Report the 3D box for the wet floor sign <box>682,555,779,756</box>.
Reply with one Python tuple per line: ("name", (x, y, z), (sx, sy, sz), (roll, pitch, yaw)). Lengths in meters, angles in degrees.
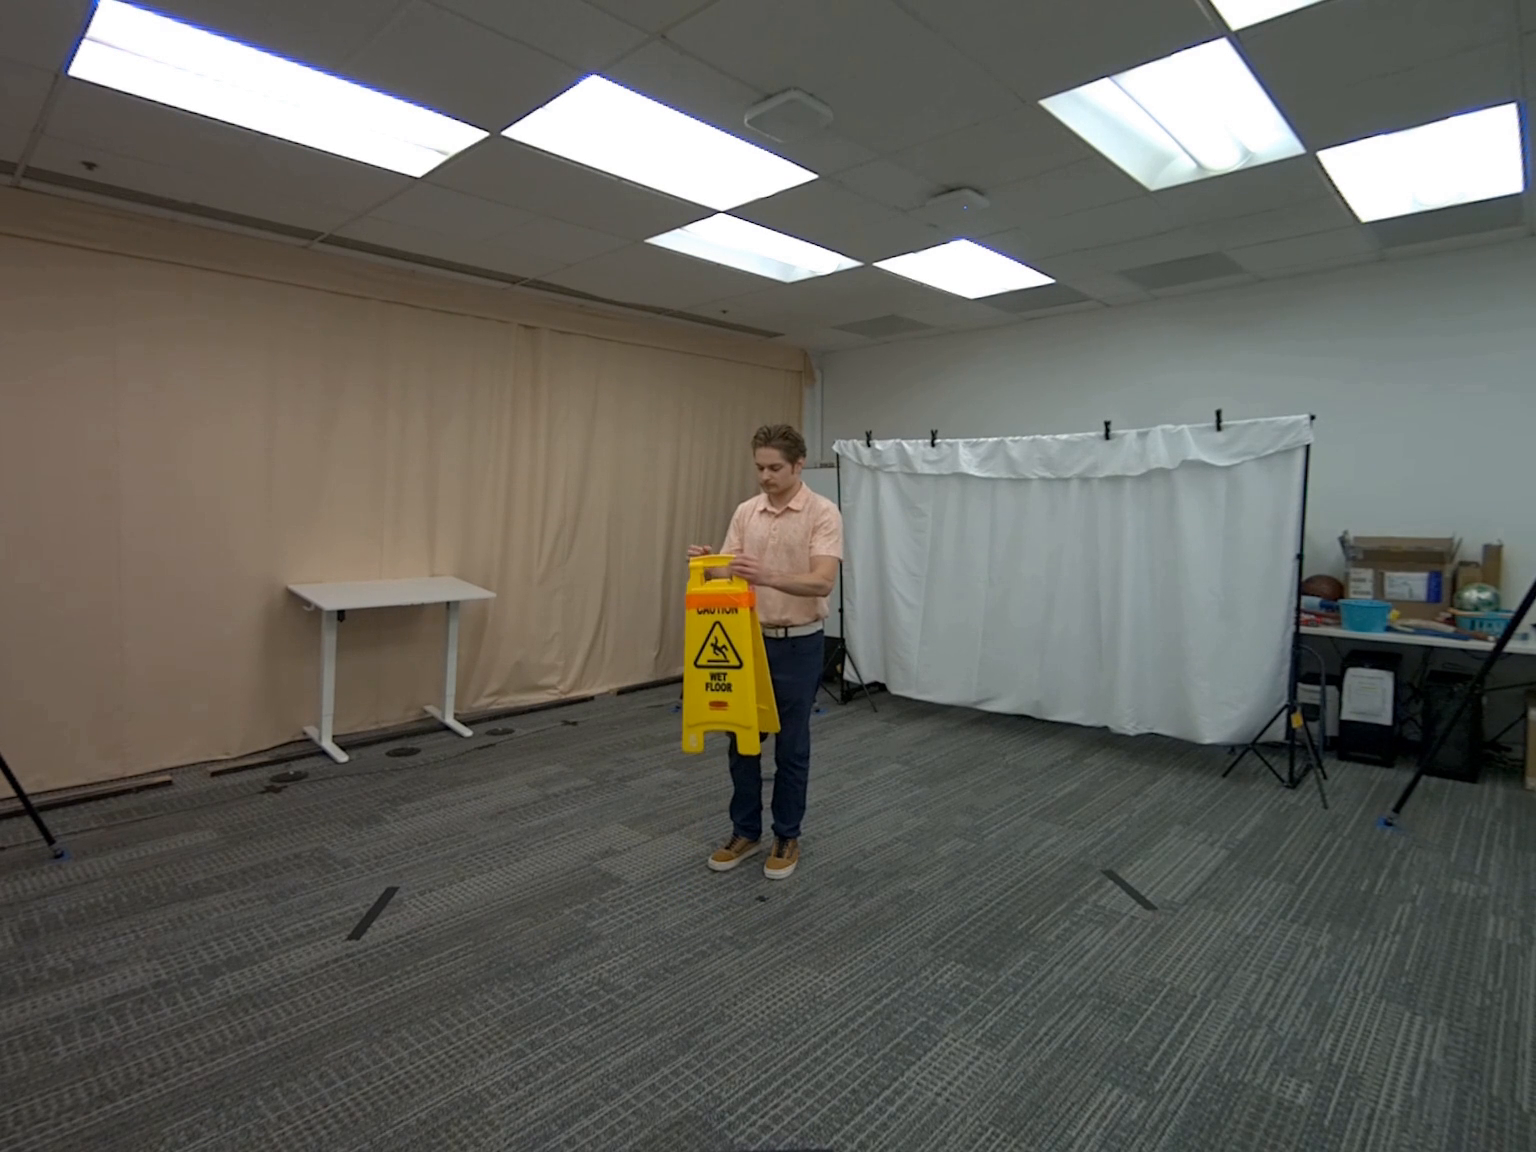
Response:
("wet floor sign", (-0.145, 0.256, 2.899), (0.288, 0.643, 0.285), (-2, 6, 19))
